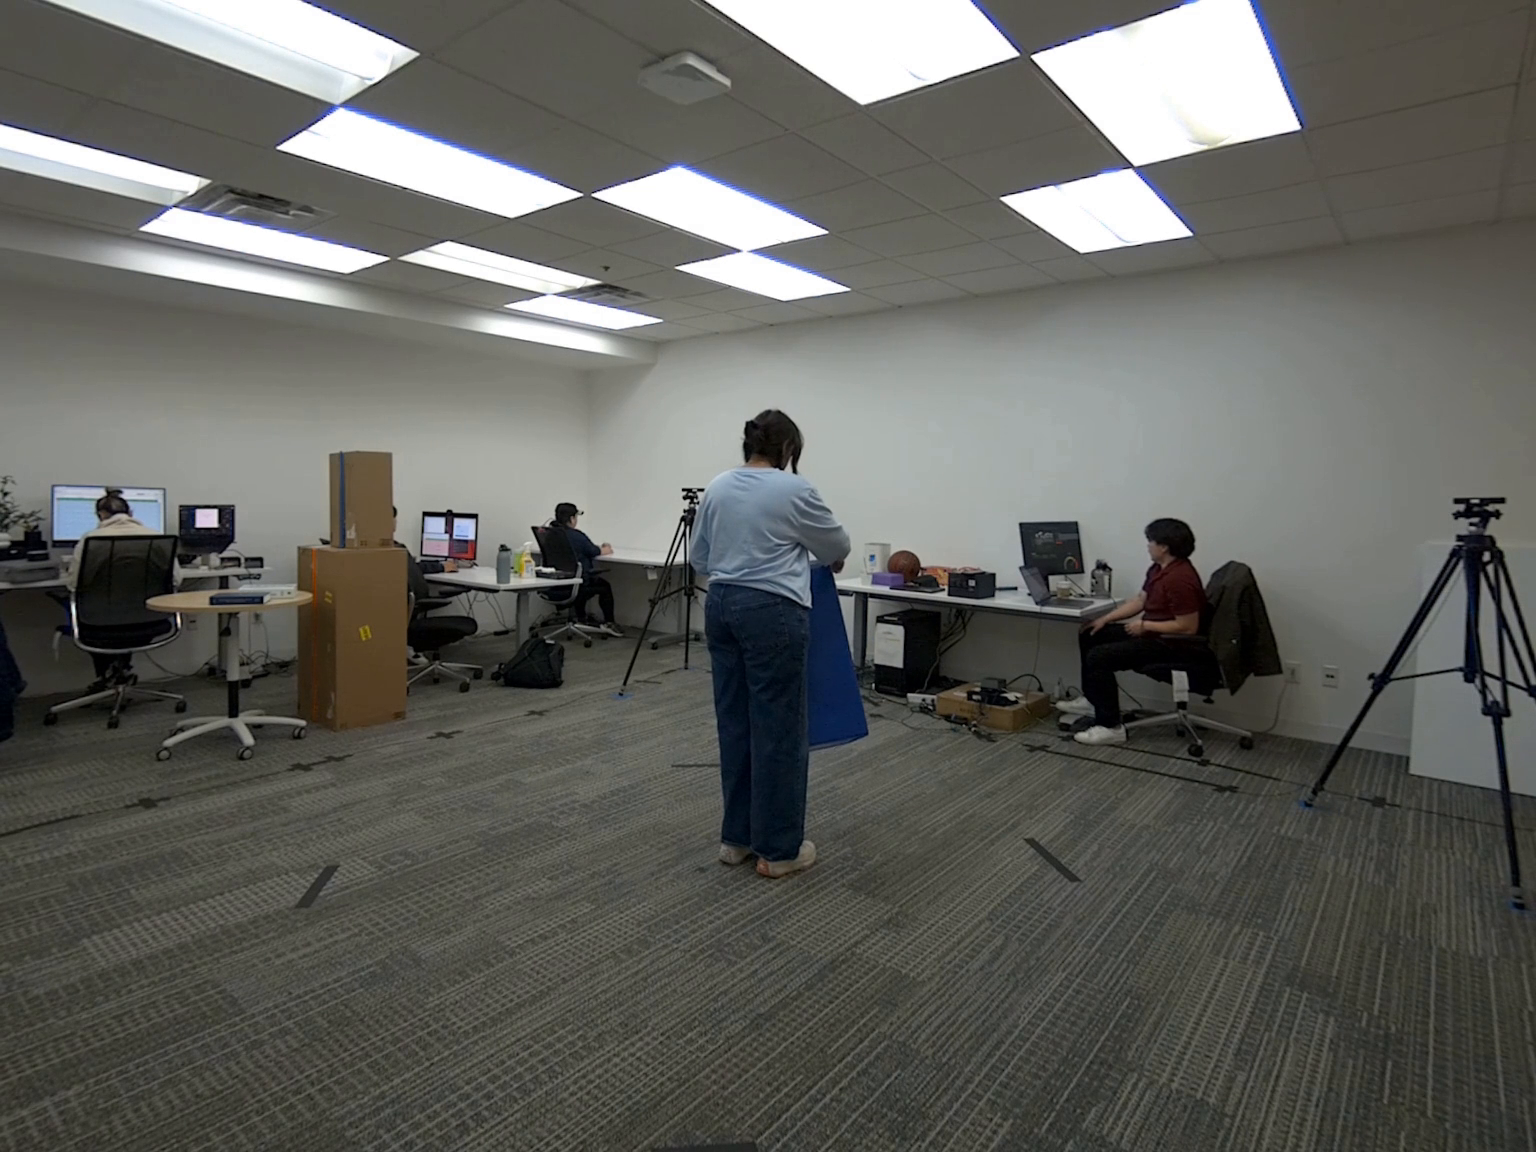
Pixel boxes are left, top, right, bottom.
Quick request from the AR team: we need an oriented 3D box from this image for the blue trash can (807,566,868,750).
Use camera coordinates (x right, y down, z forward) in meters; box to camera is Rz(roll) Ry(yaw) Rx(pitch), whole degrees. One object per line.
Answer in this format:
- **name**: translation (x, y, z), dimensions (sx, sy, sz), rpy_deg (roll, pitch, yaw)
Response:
- **blue trash can**: translation (0.132, 0.333, 3.443), dimensions (0.374, 0.727, 0.371), rpy_deg (-10, -16, -12)
